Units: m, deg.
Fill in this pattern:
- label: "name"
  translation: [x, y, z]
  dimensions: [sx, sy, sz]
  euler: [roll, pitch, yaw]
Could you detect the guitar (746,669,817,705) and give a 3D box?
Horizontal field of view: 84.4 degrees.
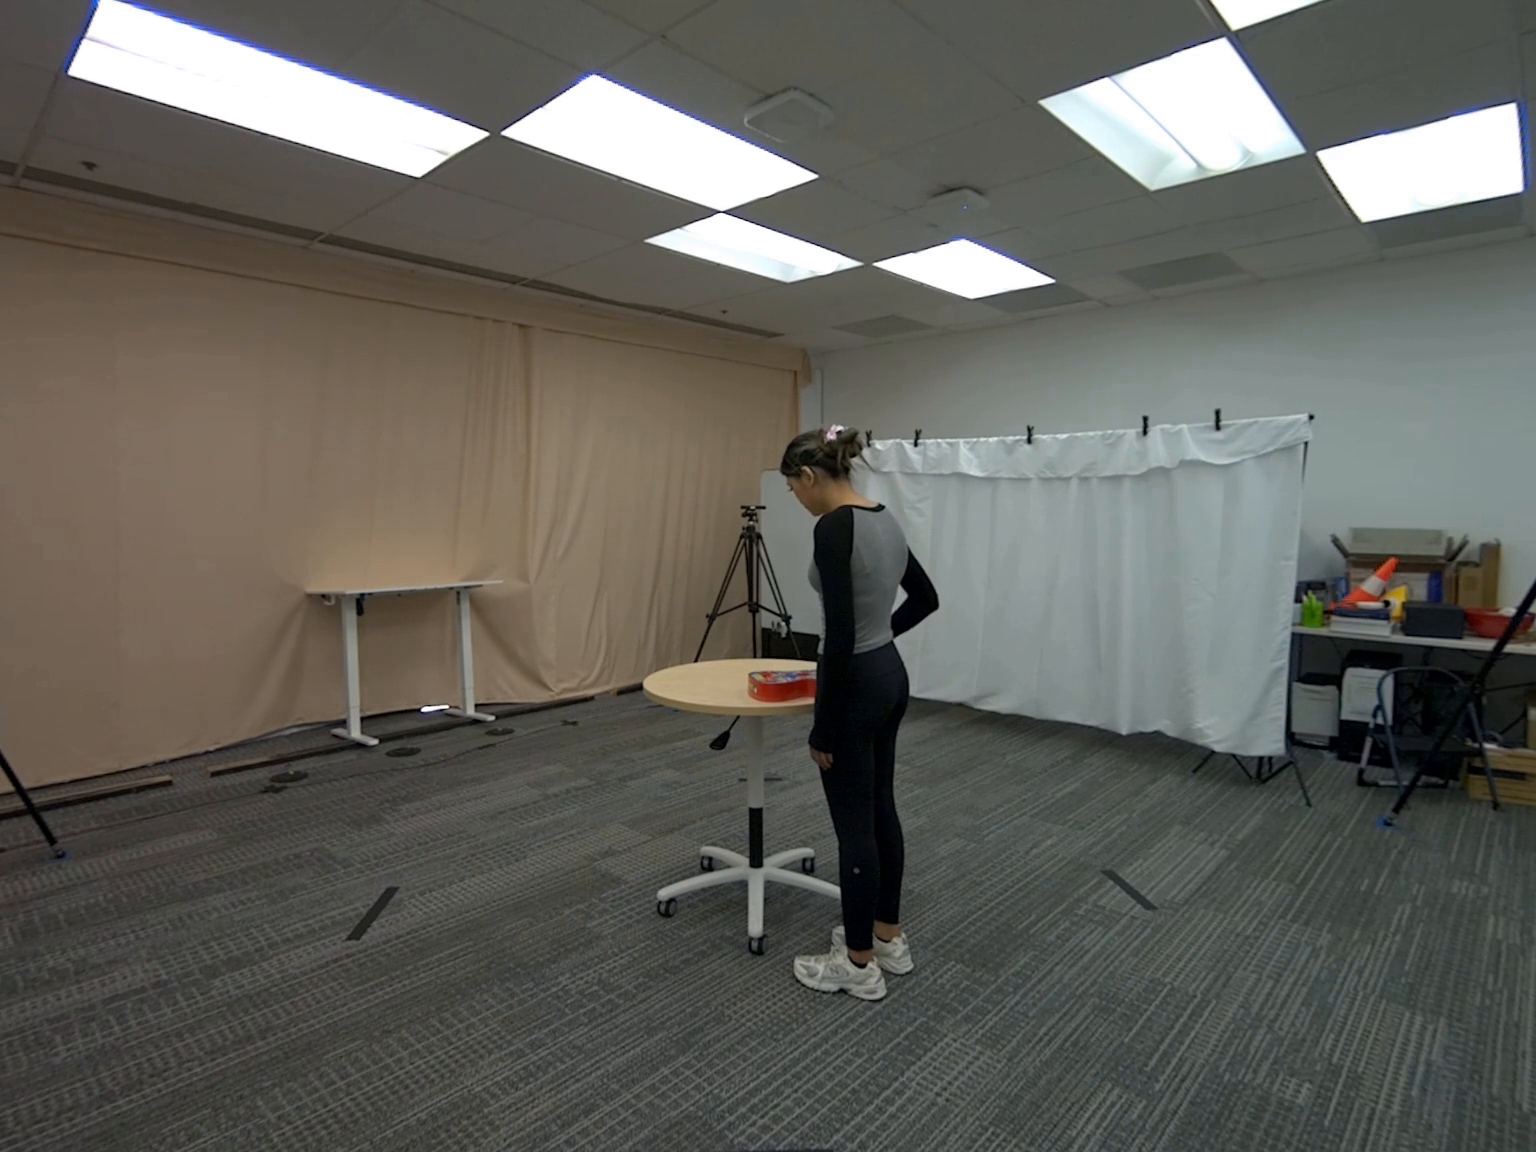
- label: "guitar"
  translation: [0.194, 0.340, 2.674]
  dimensions: [0.495, 0.070, 0.195]
  euler: [-1, 6, -5]
